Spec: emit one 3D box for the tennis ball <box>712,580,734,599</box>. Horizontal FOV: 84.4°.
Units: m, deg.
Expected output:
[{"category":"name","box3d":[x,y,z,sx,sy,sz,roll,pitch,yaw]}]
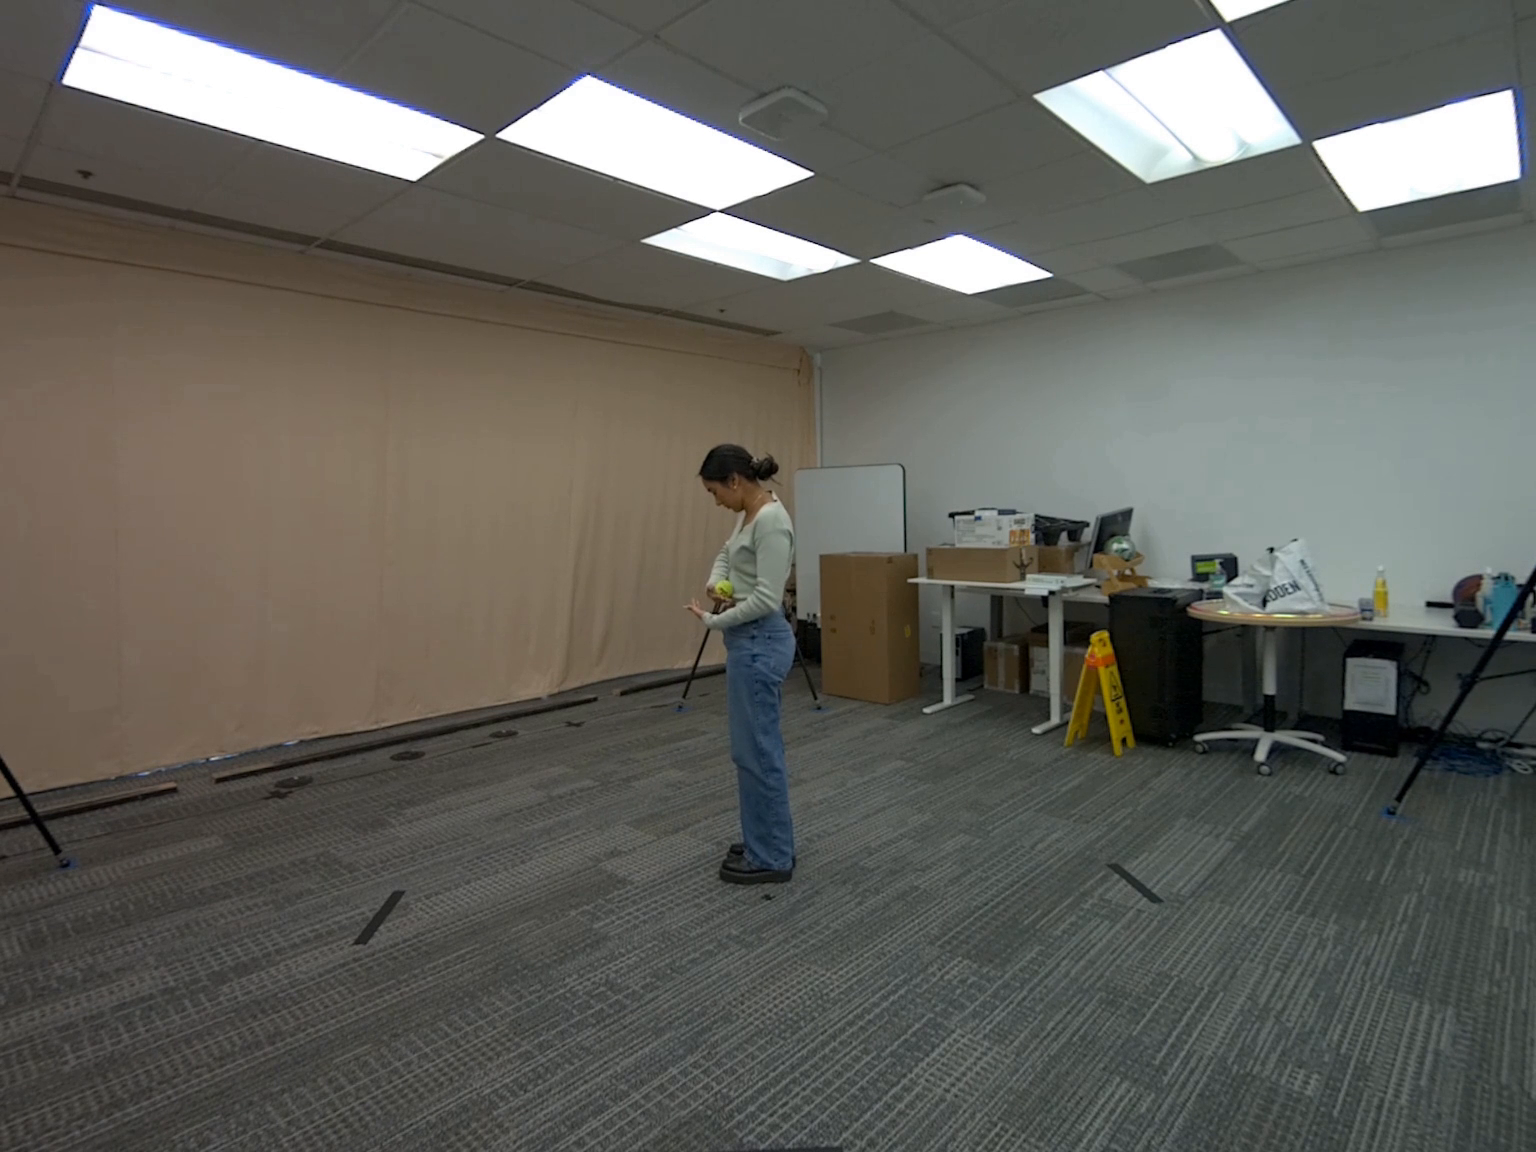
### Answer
[{"category":"tennis ball","box3d":[-0.159,0.050,3.108,0.066,0.066,0.067,-1,4,-2]}]
